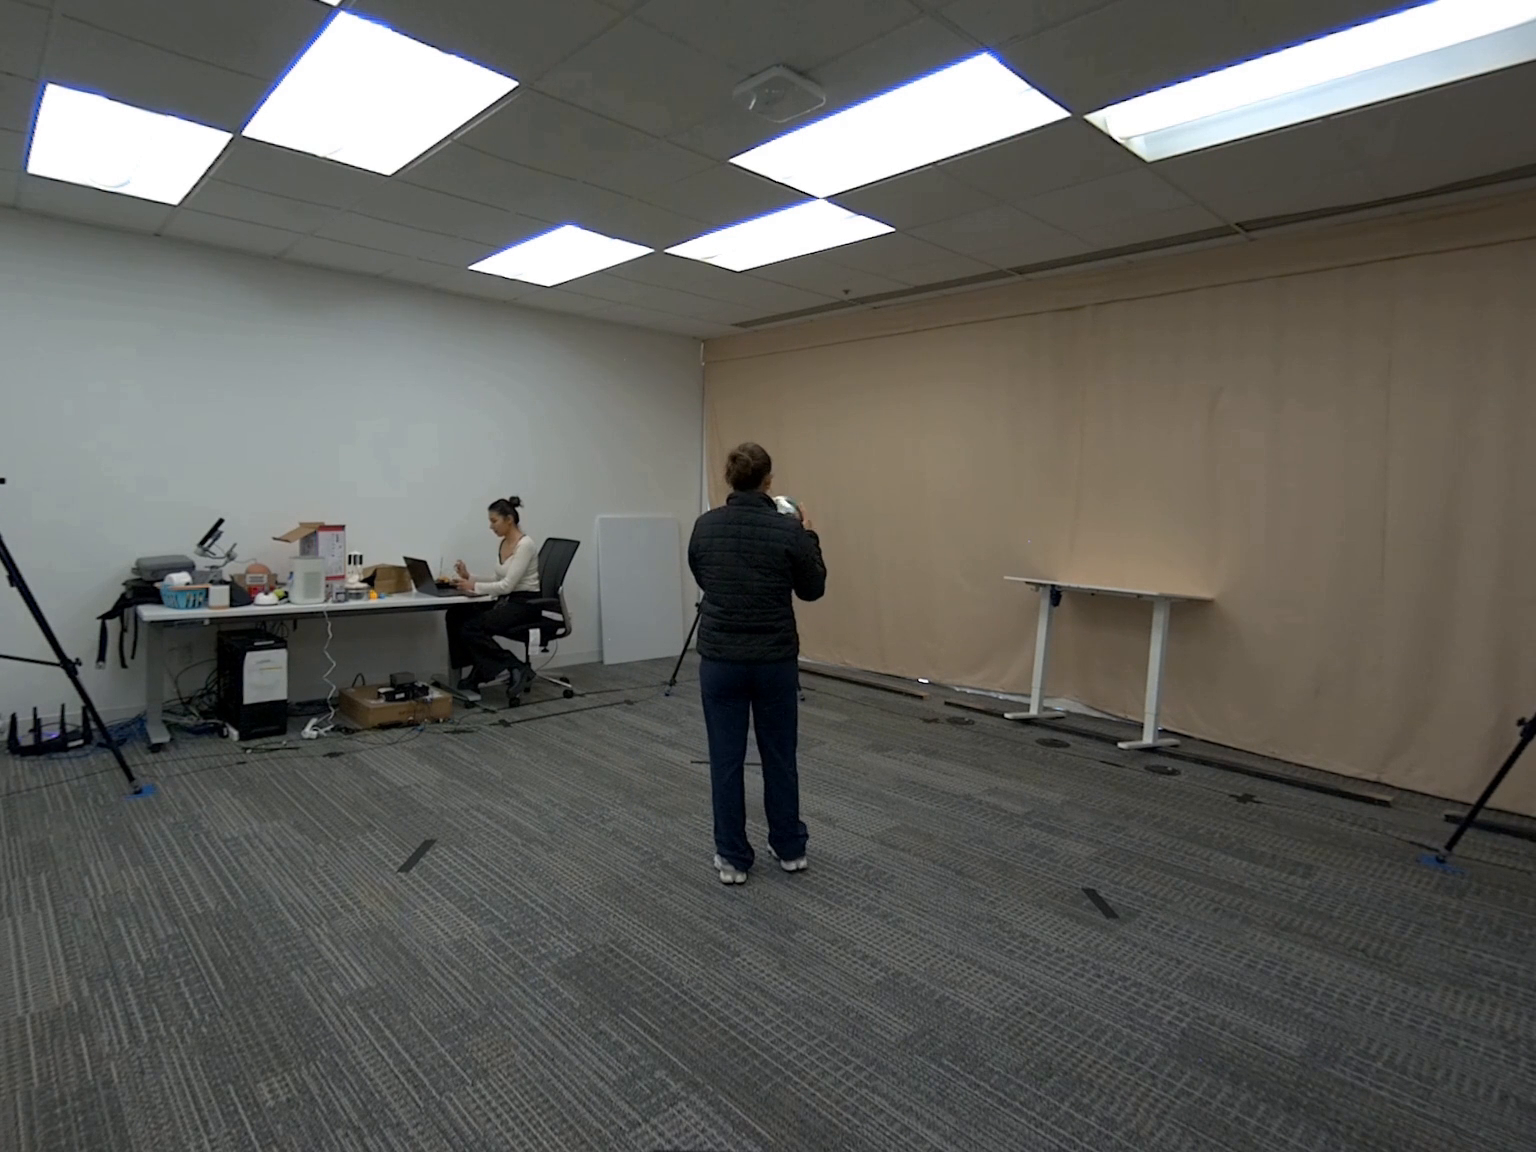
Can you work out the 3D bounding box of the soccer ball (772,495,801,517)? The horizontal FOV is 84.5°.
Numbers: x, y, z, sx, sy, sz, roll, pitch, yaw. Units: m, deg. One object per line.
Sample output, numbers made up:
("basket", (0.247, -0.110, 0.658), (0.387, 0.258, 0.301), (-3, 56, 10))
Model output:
("soccer ball", (0.061, -0.222, 3.359), (0.187, 0.187, 0.188), (1, 4, -1))
